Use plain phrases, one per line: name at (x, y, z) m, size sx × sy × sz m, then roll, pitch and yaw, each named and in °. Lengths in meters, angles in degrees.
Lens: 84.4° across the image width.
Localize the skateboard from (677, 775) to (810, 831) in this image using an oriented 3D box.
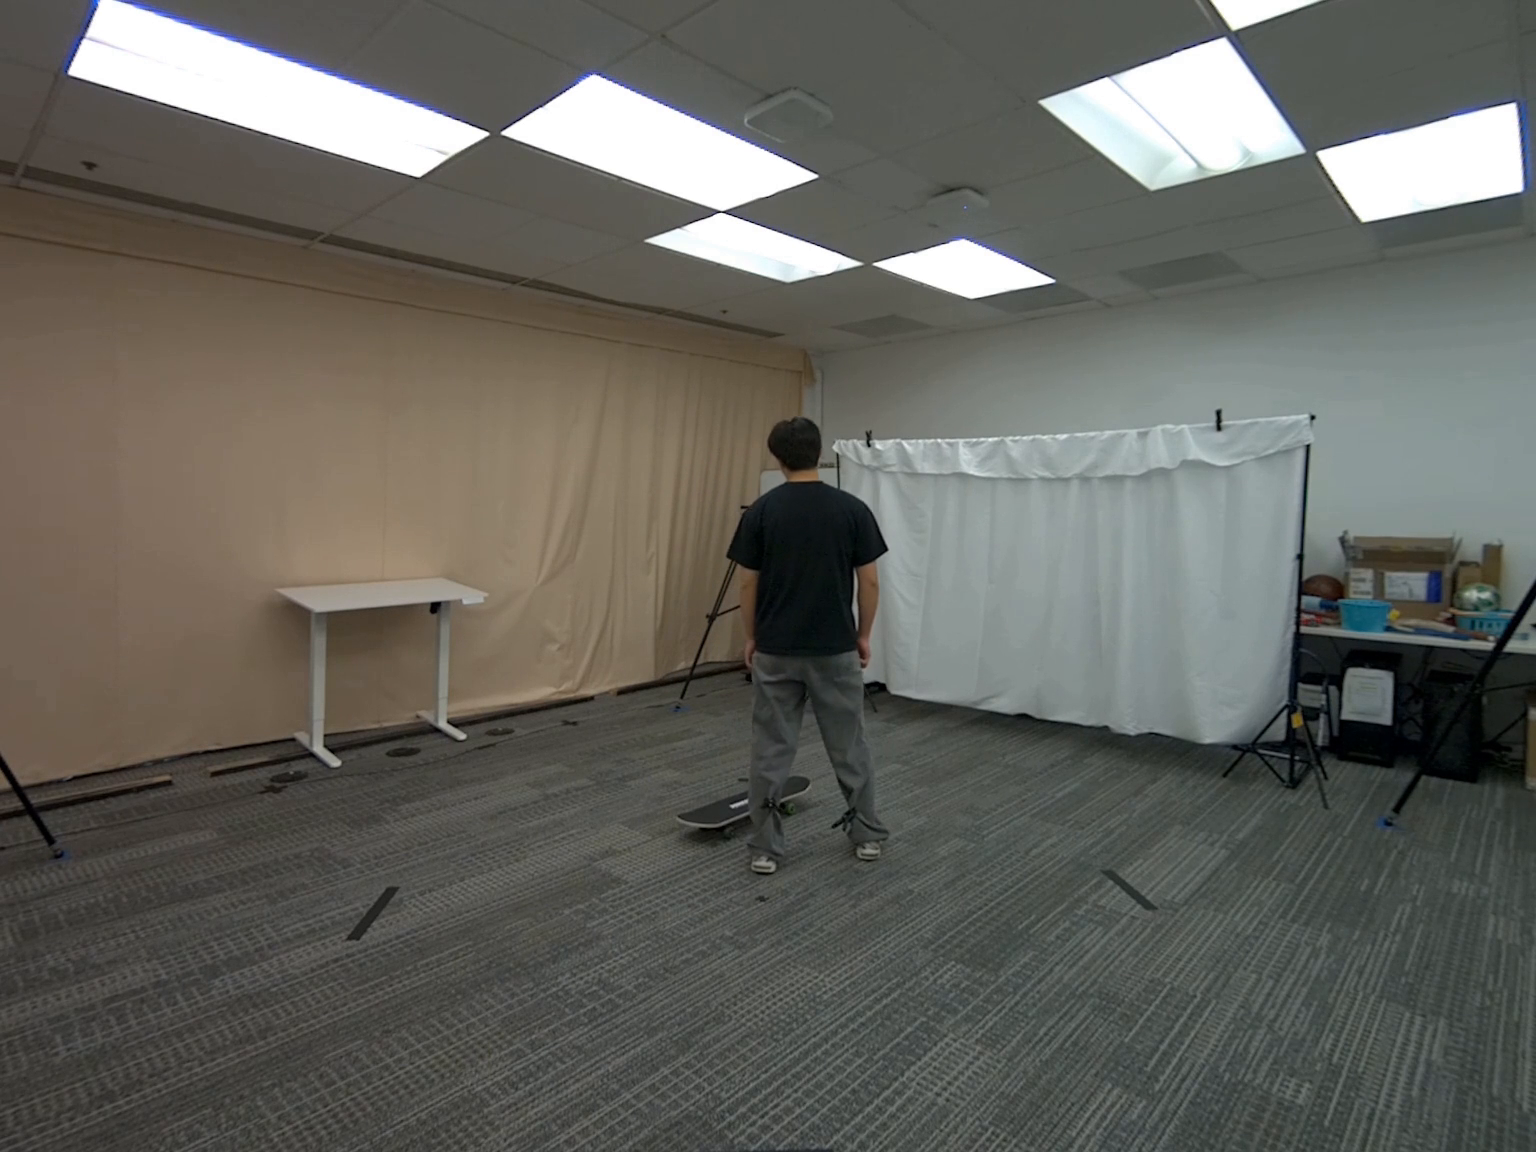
skateboard at (-0.092, 1.030, 3.721) m, size 0.200 × 0.110 × 0.761 m, roll 3°, pitch 5°, yaw 43°
